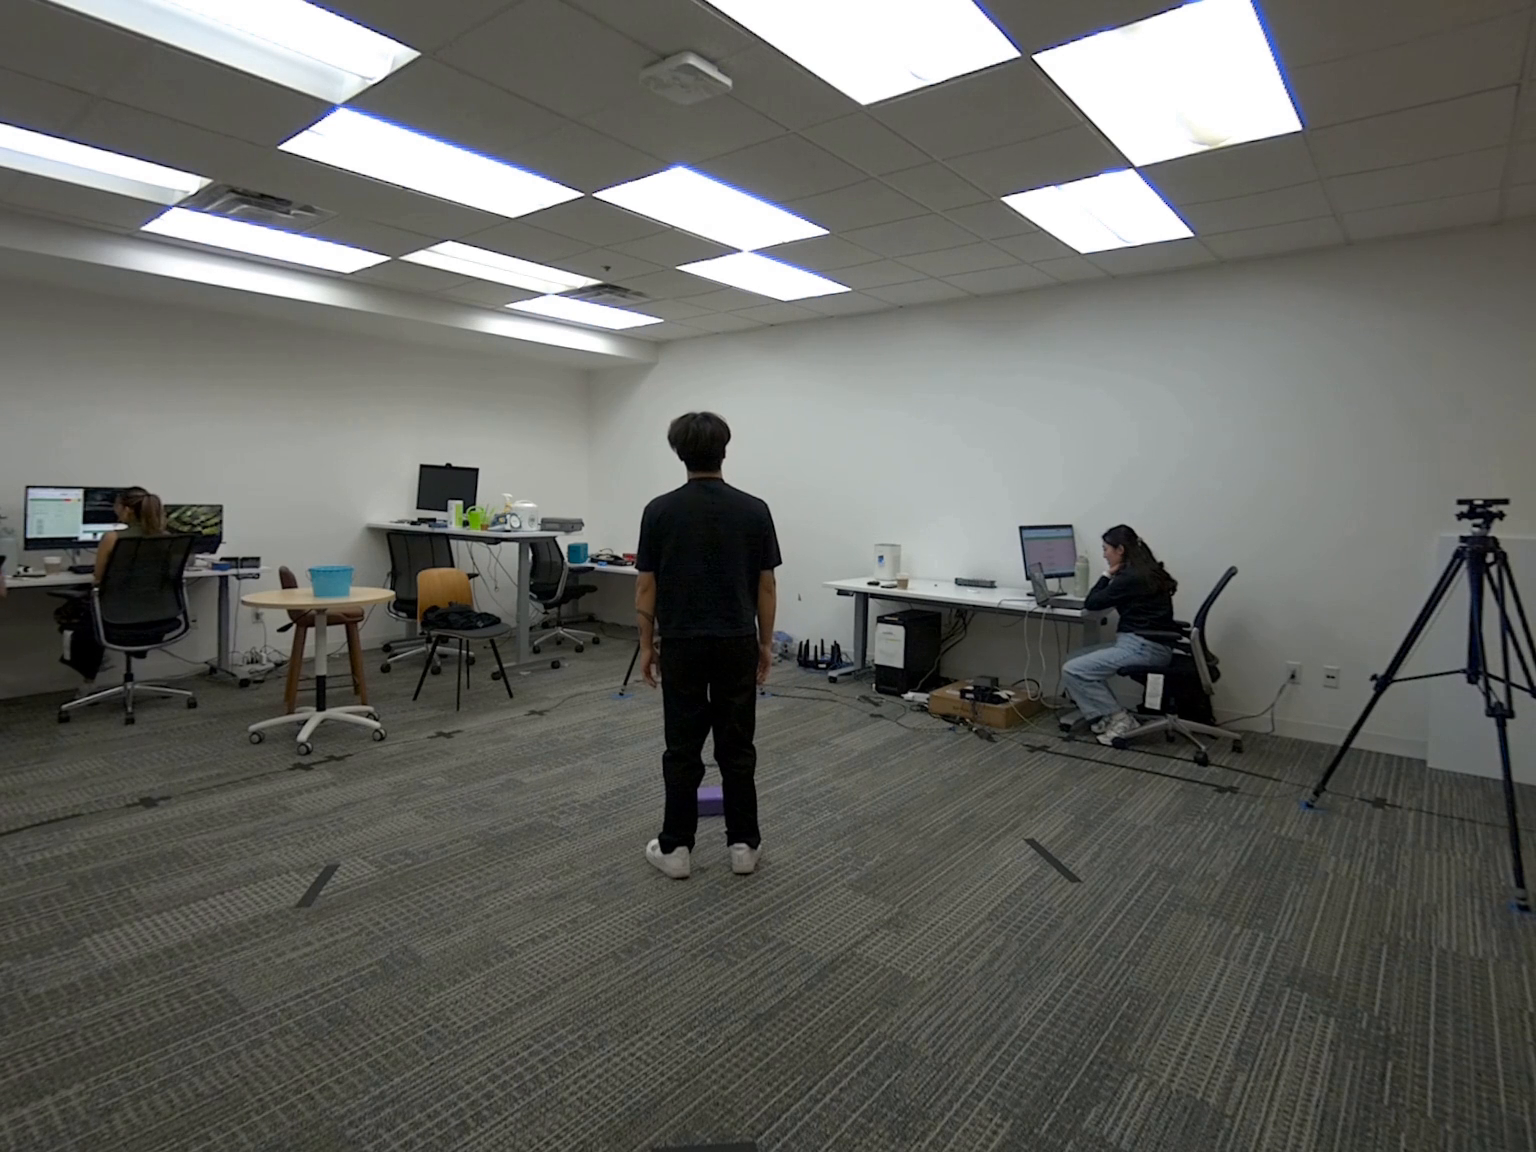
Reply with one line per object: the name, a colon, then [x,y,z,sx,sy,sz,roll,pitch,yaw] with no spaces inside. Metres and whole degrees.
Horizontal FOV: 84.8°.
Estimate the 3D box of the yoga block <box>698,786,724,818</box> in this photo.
yoga block: [-0.271,0.969,3.685,0.227,0.076,0.151,-2,5,-11]
